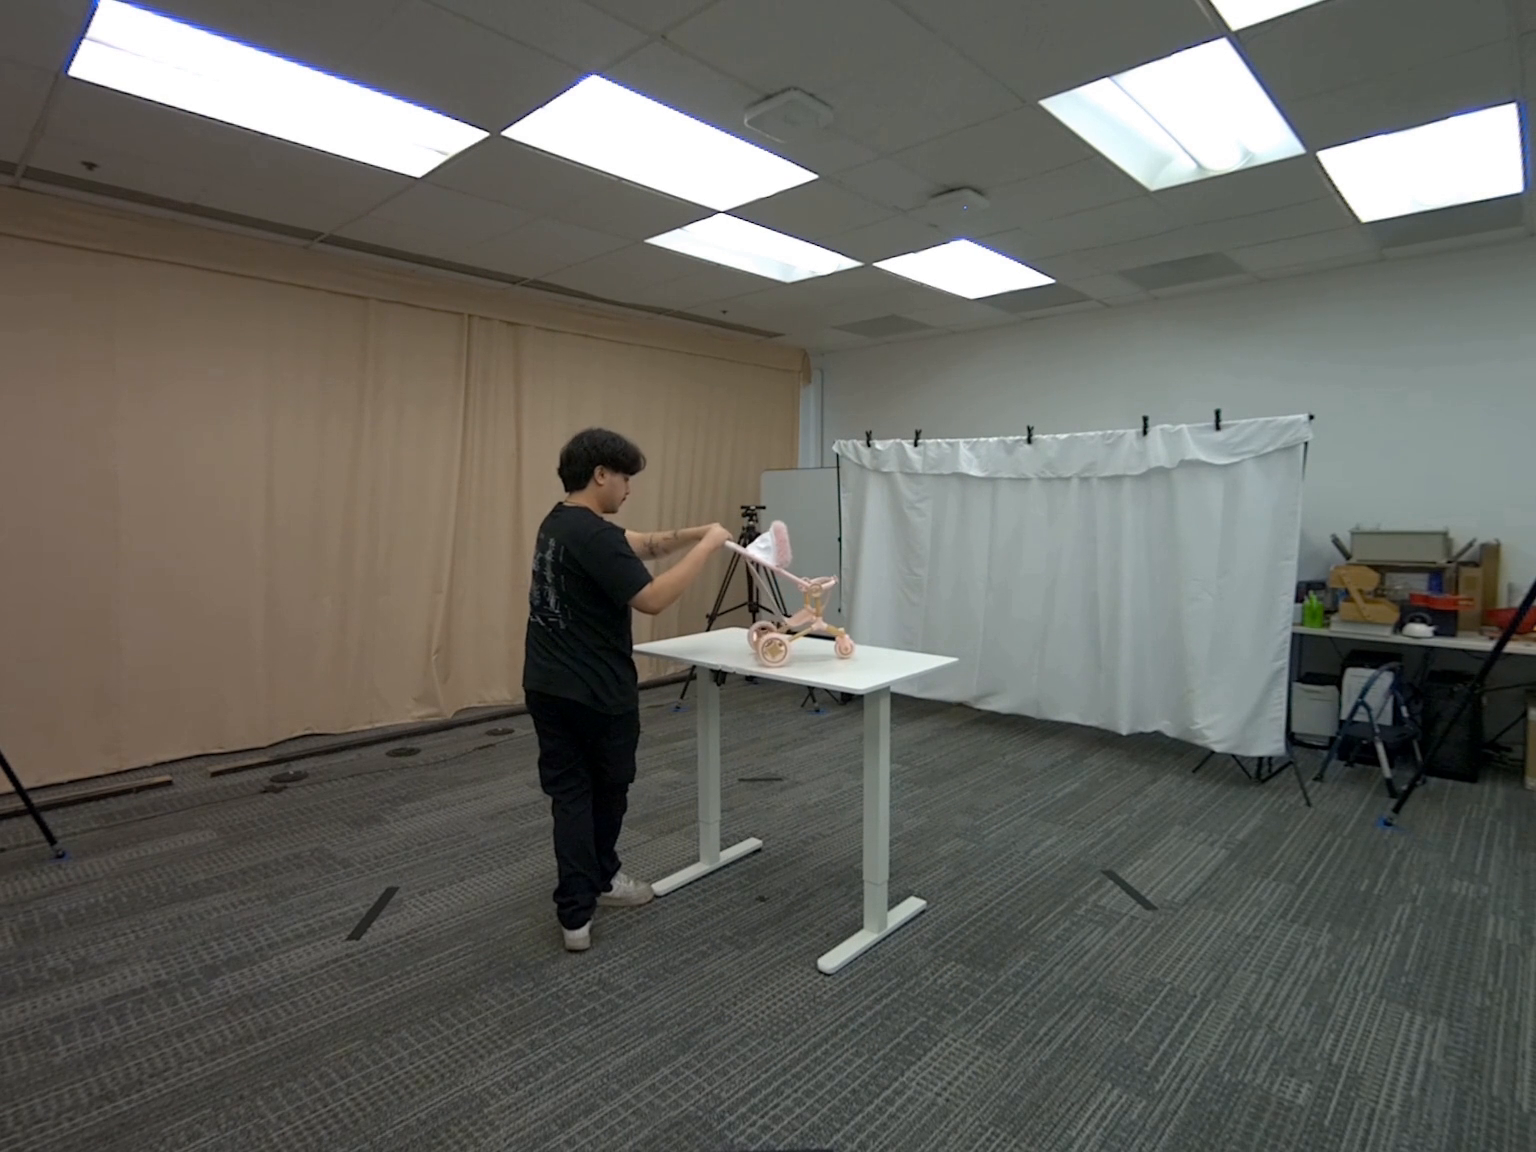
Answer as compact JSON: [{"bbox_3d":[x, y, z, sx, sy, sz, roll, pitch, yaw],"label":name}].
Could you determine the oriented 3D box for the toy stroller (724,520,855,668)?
[{"bbox_3d":[0.068,0.058,2.779,0.341,0.533,0.282,-16,5,0],"label":"toy stroller"}]
